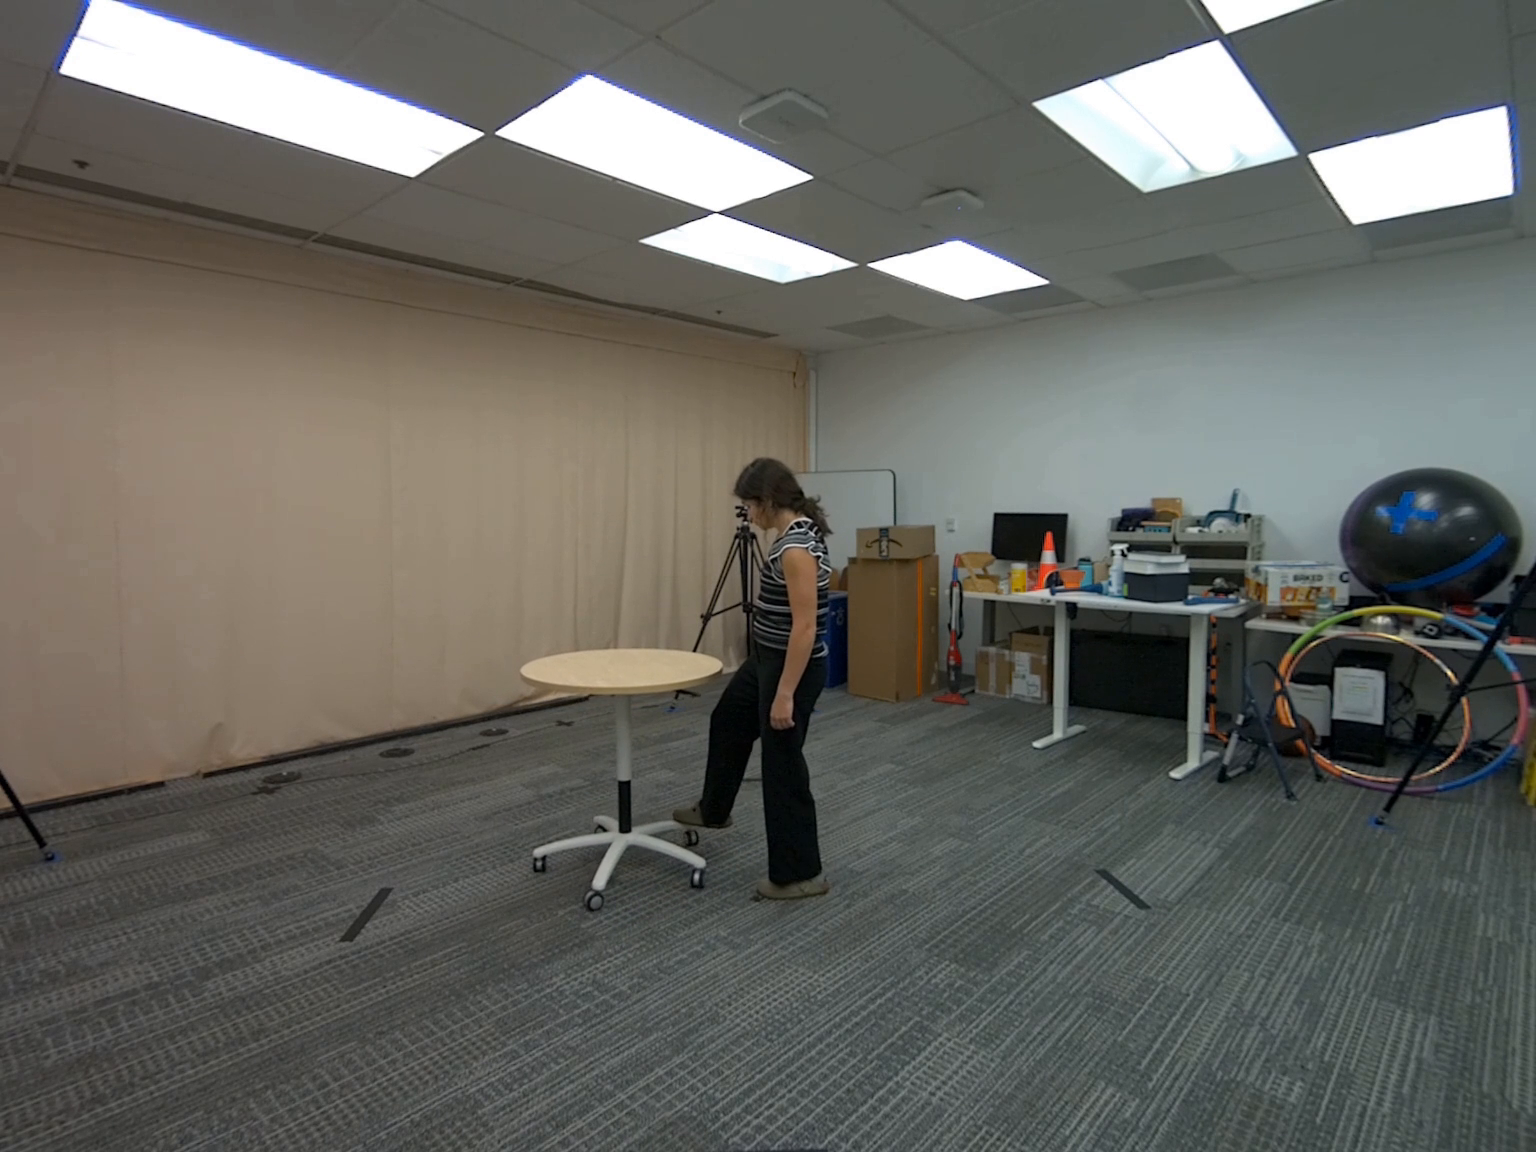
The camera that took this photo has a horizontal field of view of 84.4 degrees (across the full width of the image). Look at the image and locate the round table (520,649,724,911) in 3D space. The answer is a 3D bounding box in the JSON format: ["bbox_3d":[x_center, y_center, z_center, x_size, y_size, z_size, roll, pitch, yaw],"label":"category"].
[{"bbox_3d":[-0.565,0.733,3.239,0.784,0.785,0.787,0,3,-2],"label":"round table"}]
